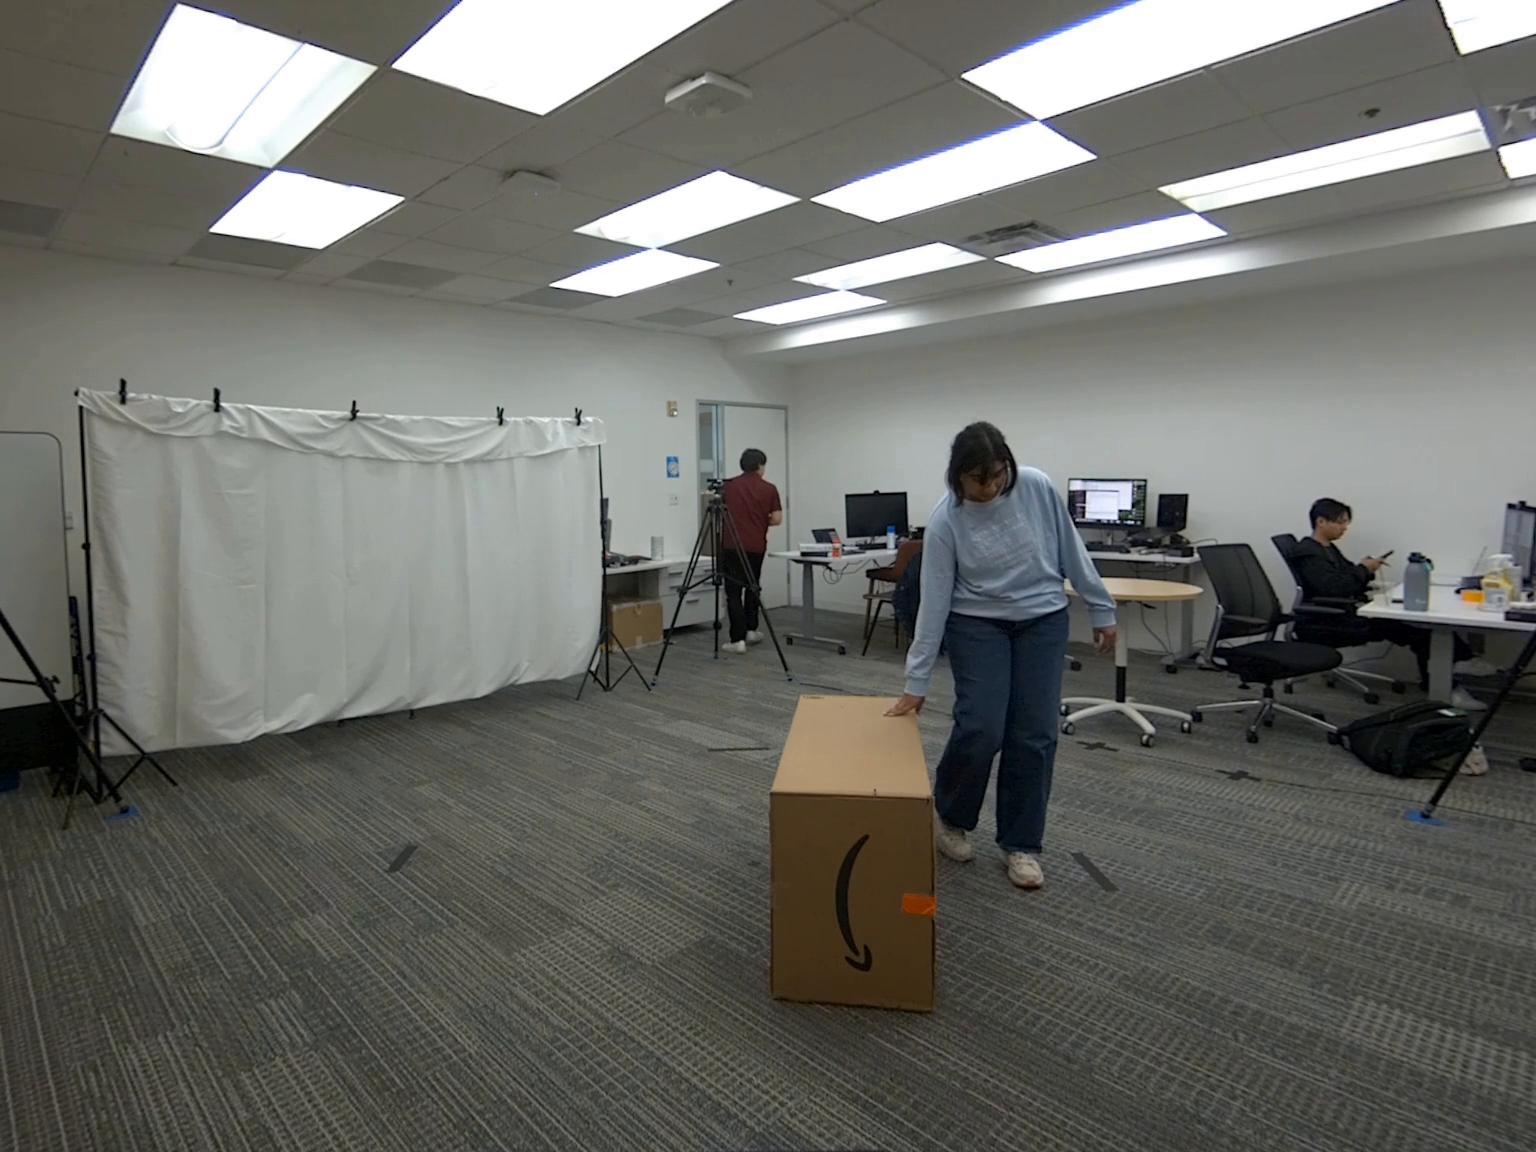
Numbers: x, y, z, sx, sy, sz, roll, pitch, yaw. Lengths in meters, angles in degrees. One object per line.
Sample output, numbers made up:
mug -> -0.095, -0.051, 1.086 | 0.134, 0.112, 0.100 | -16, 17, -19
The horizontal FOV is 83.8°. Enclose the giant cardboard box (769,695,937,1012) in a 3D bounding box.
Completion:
giant cardboard box -> 0.278, 0.794, 2.732 | 0.430, 0.575, 1.022 | 0, 5, 7
